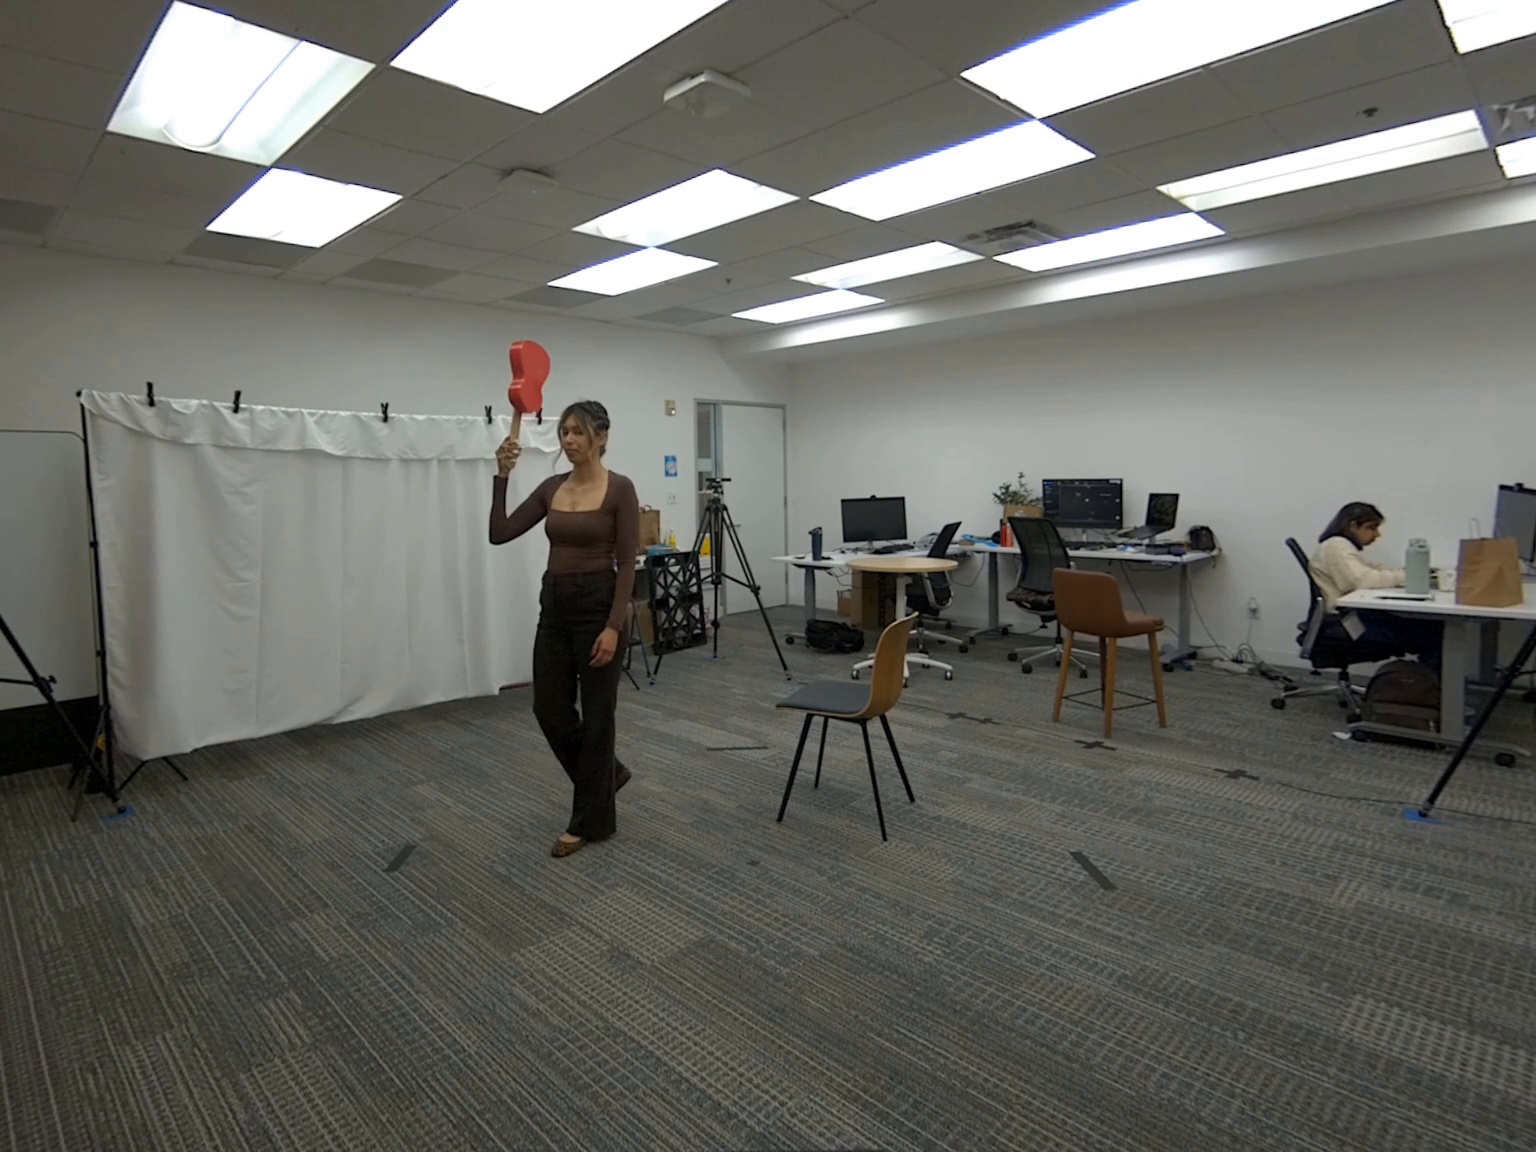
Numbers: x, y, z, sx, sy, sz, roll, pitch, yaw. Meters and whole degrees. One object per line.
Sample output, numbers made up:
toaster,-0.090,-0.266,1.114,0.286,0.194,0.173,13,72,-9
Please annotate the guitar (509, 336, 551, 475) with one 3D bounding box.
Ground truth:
guitar,-0.924,-0.656,3.322,0.072,0.499,0.190,-1,-2,13
